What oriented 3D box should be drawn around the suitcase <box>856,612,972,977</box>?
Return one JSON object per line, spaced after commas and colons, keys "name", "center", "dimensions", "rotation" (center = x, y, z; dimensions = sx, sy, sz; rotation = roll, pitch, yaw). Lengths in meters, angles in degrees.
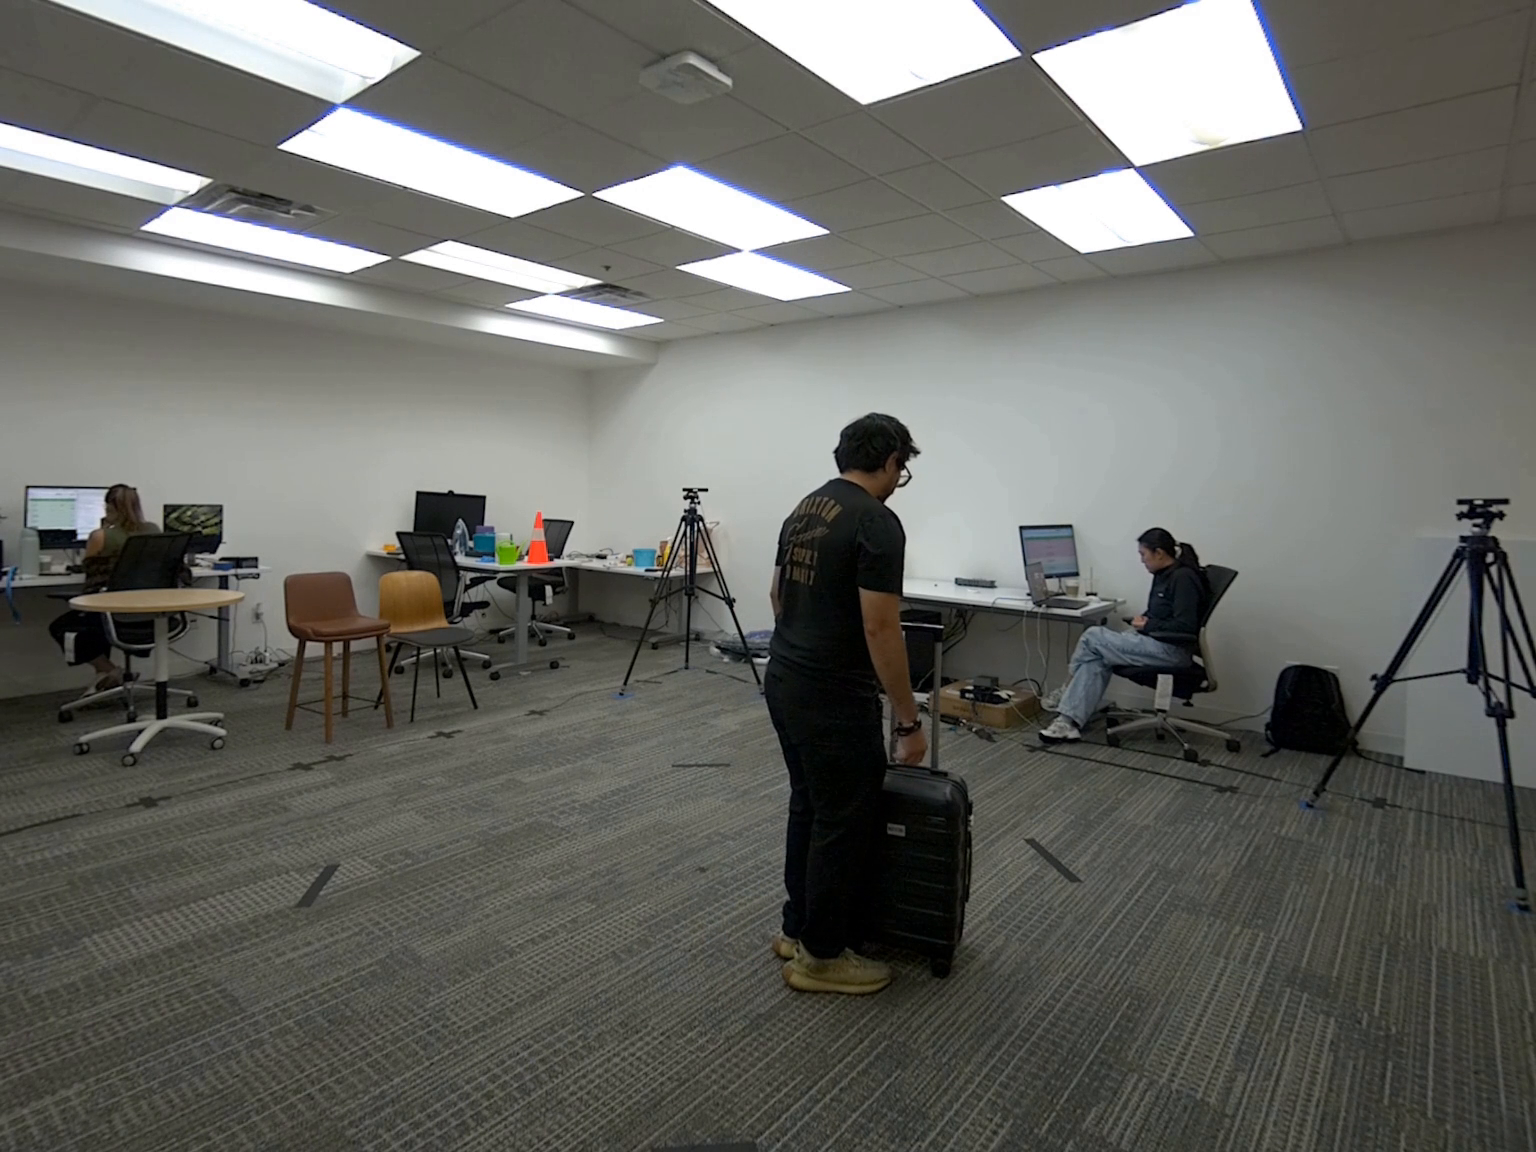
{"name": "suitcase", "center": [0.424, 0.657, 2.580], "dimensions": [0.392, 0.975, 0.253], "rotation": [3, 4, 19]}
